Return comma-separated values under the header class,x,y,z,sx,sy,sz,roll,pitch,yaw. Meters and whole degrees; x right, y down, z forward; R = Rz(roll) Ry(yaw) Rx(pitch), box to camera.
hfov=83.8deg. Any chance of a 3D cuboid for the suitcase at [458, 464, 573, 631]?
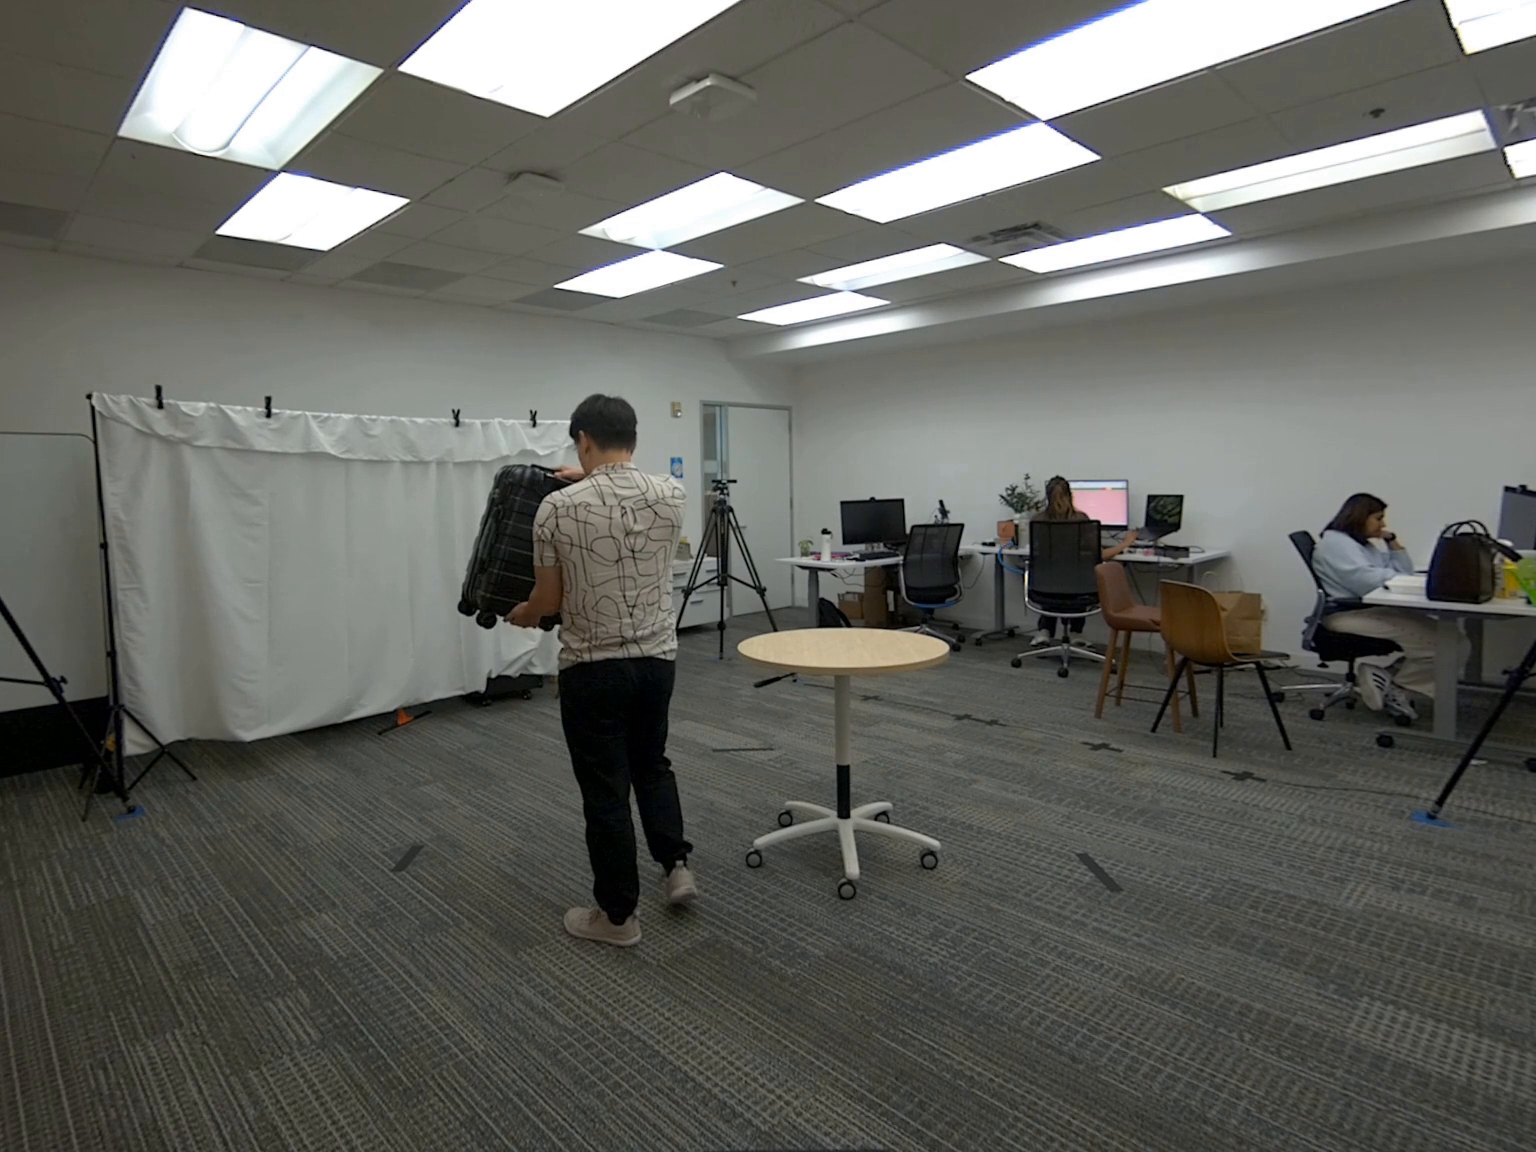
class,x,y,z,sx,sy,sz,roll,pitch,yaw
suitcase,-0.788,-0.090,2.887,0.363,0.549,0.257,15,0,-37
